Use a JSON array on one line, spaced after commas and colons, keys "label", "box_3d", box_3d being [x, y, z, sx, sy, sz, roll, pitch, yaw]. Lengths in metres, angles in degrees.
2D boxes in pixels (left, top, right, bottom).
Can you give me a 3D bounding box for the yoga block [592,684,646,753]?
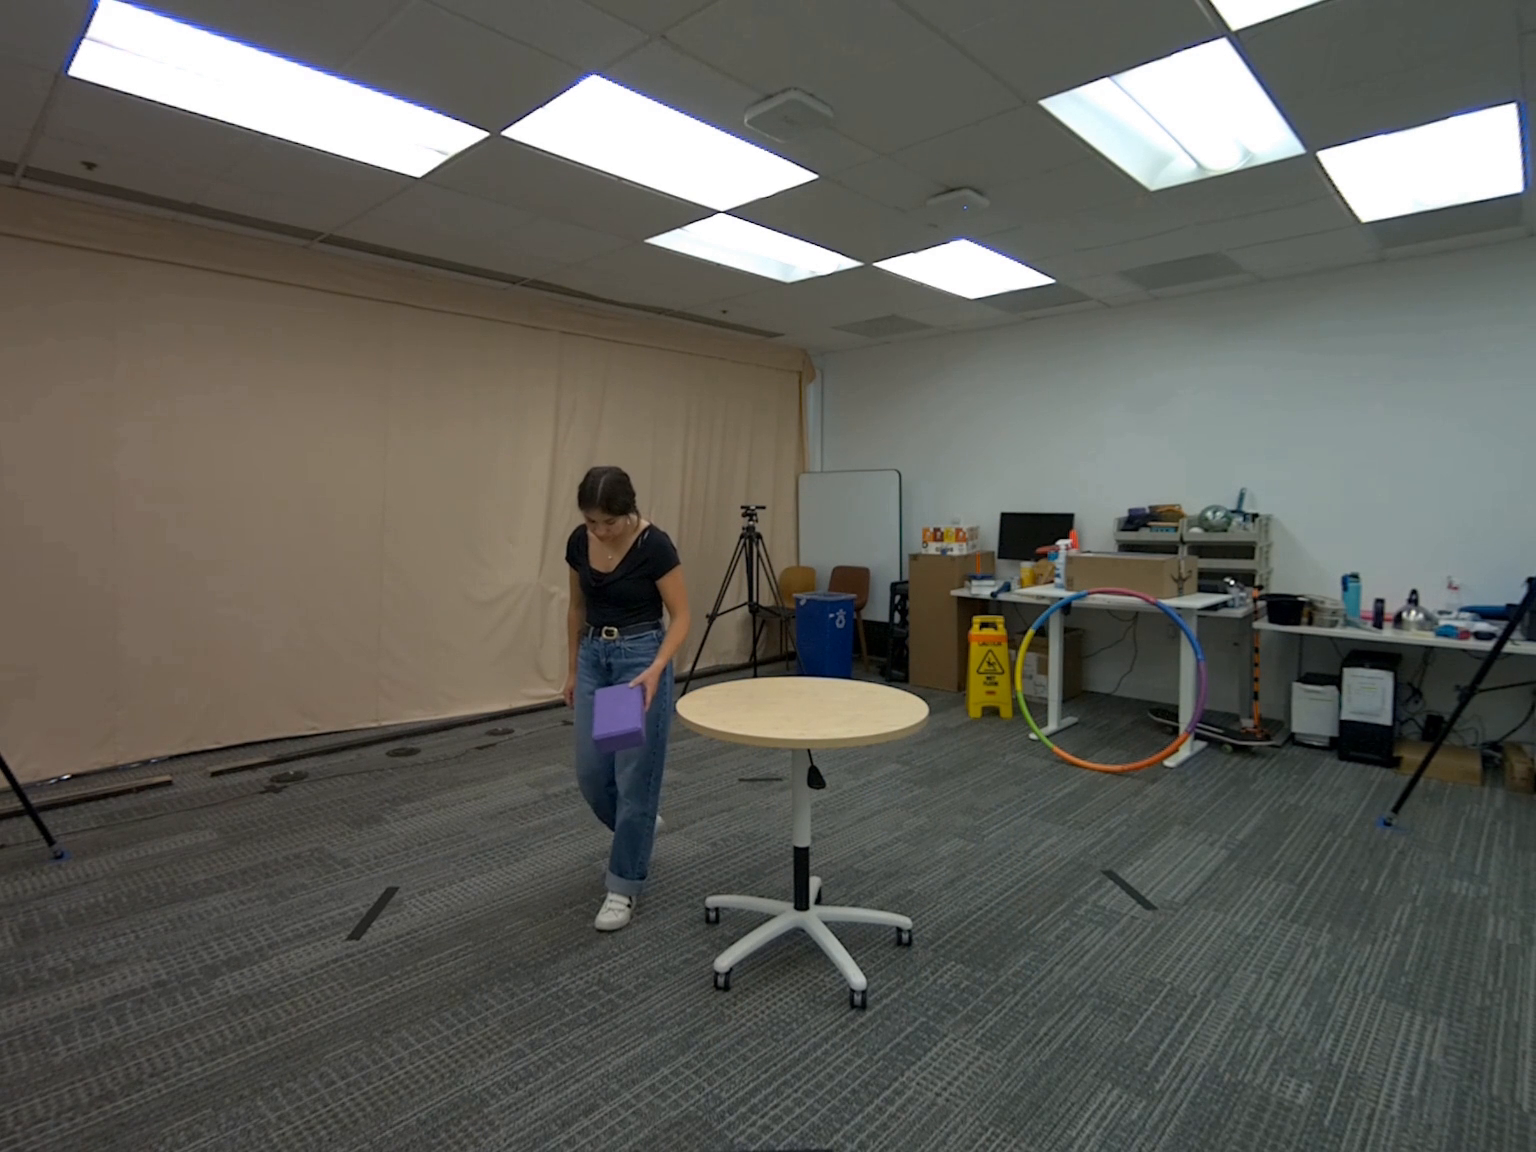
[{"label": "yoga block", "box_3d": [-0.449, 0.438, 2.611, 0.149, 0.075, 0.234, -12, 32, -1]}]
